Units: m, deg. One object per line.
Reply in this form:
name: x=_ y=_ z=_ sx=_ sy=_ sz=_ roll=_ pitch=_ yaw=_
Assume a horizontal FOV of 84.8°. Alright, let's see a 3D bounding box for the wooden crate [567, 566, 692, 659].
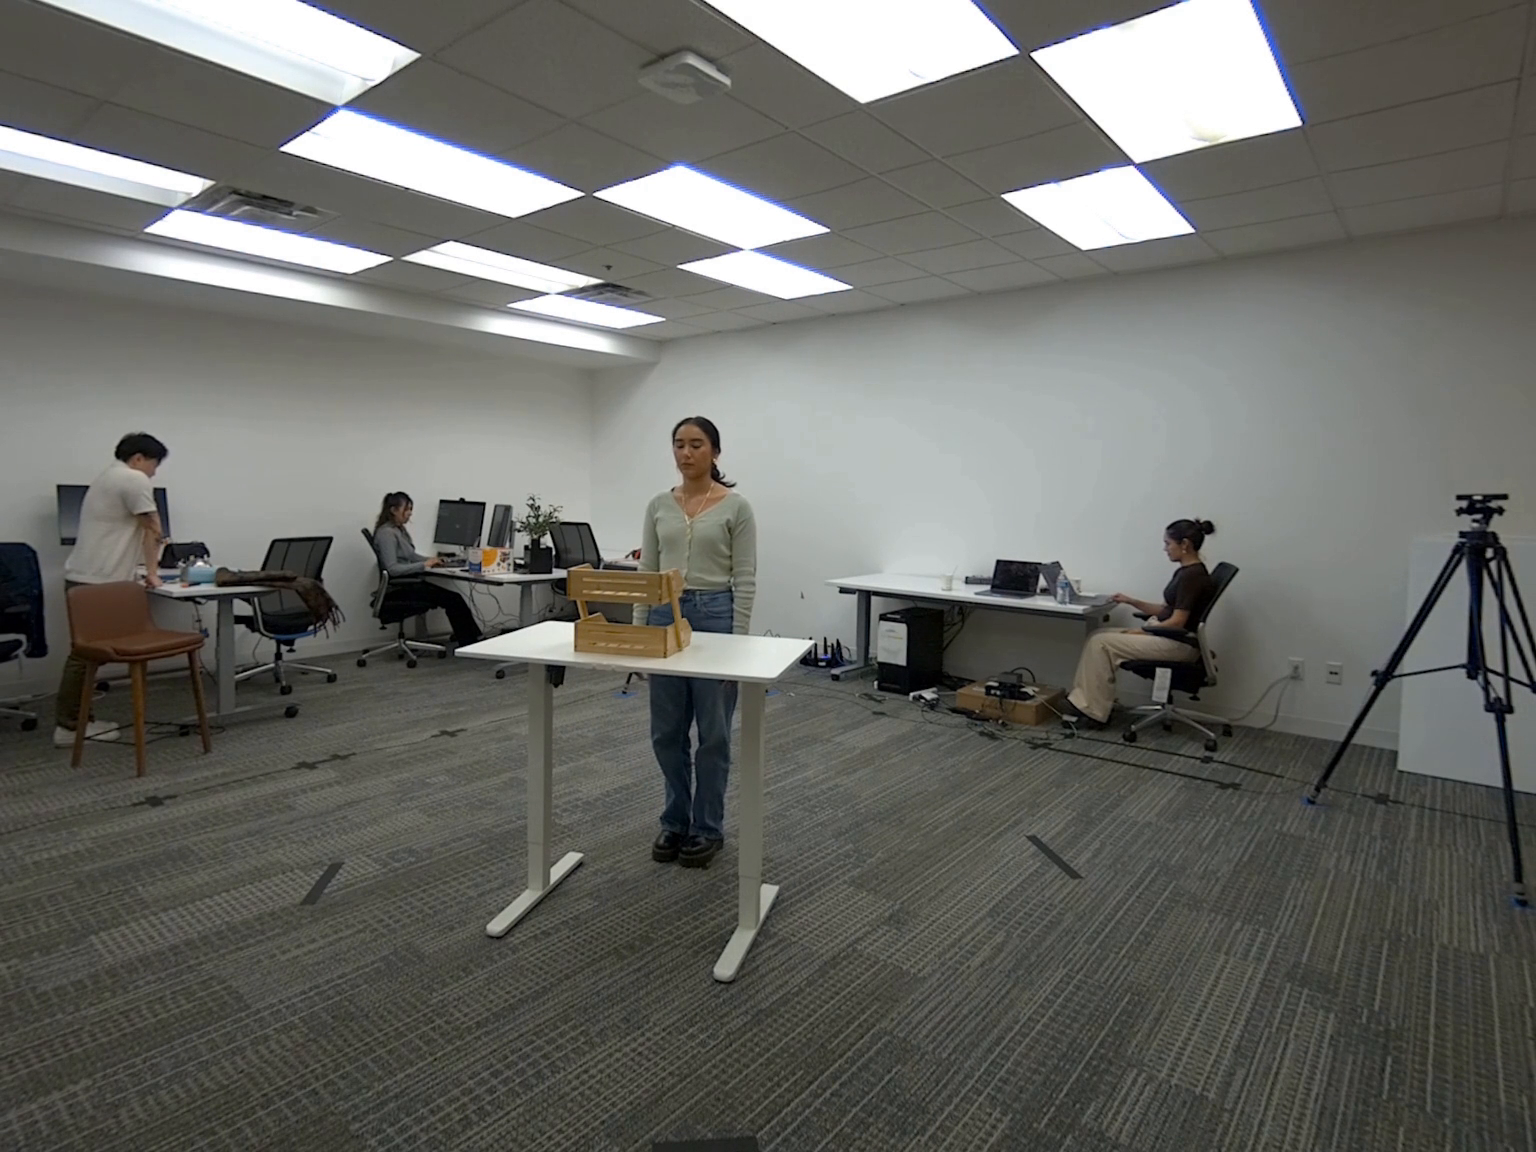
wooden crate: x=-0.437 y=0.094 z=2.655 sx=0.330 sy=0.272 sz=0.299 roll=2 pitch=5 yaw=14
